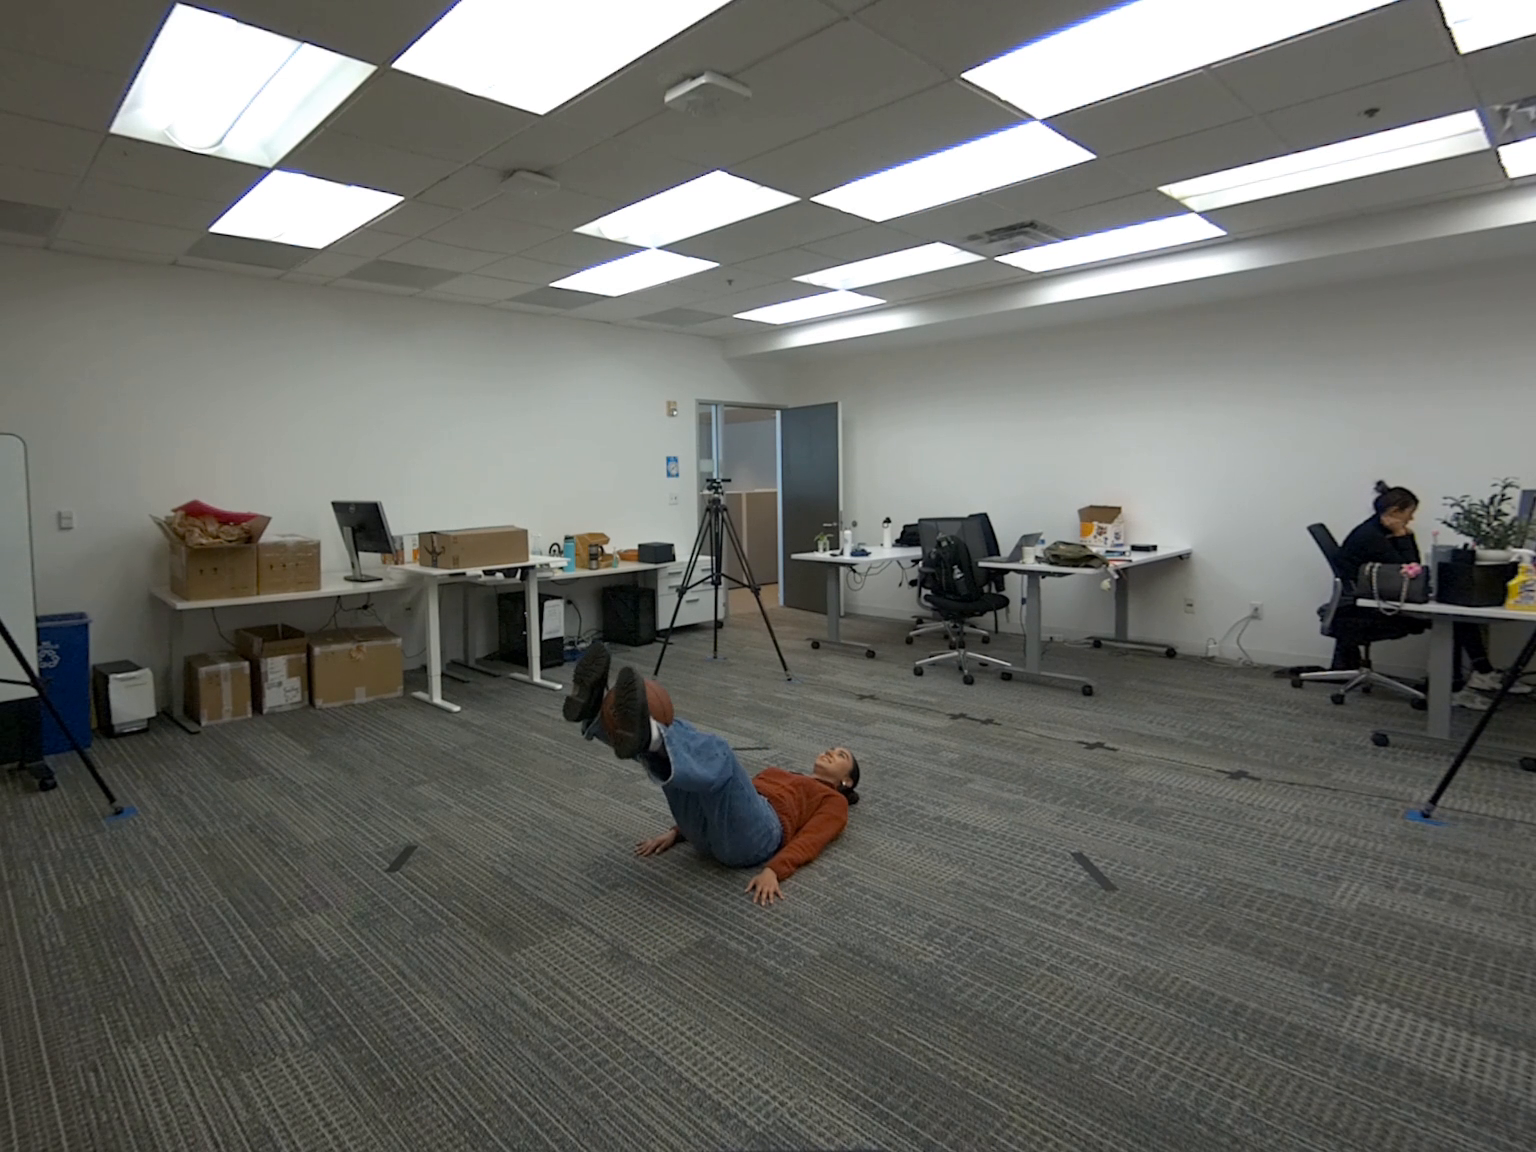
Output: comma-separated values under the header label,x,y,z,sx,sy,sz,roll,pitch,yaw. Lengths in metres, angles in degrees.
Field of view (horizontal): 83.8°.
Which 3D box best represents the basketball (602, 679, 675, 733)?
label,x,y,z,sx,sy,sz,roll,pitch,yaw
basketball,-0.423,0.456,2.780,0.236,0.235,0.237,-1,5,-2
